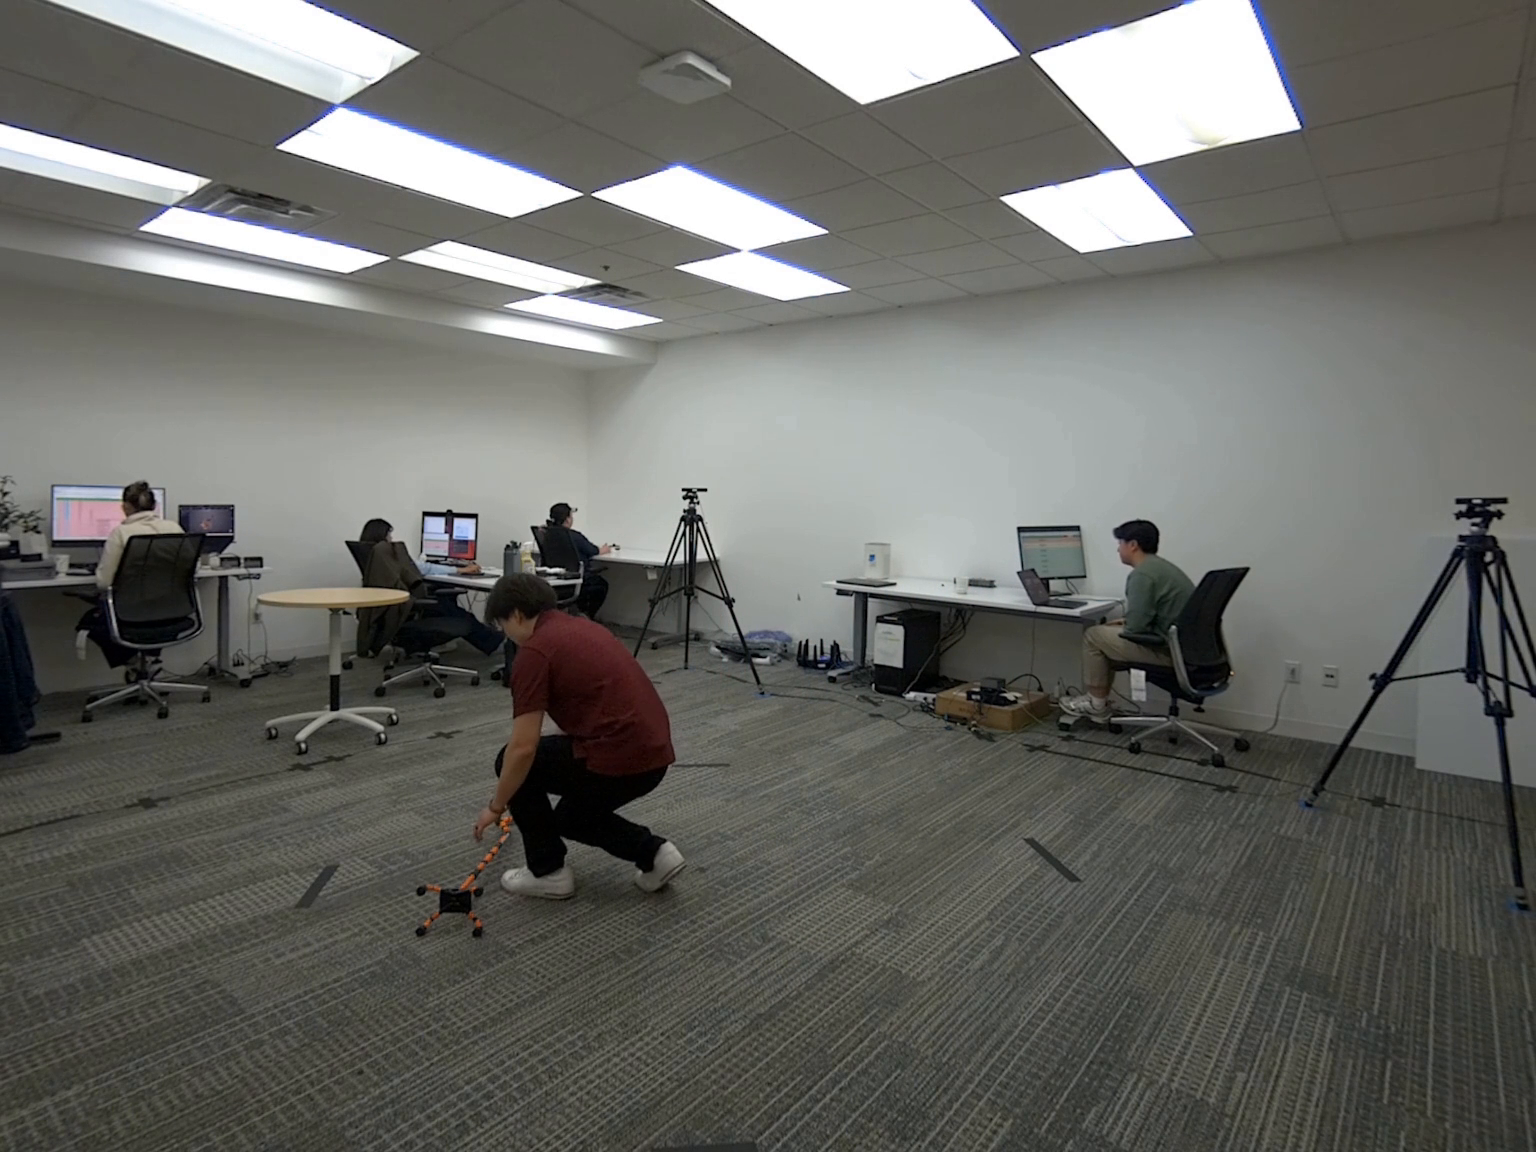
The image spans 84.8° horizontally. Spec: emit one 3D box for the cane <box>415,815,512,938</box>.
[{"bbox_3d":[-1.008,1.007,3.067,0.206,0.151,0.909,1,2,-3],"label":"cane"}]
